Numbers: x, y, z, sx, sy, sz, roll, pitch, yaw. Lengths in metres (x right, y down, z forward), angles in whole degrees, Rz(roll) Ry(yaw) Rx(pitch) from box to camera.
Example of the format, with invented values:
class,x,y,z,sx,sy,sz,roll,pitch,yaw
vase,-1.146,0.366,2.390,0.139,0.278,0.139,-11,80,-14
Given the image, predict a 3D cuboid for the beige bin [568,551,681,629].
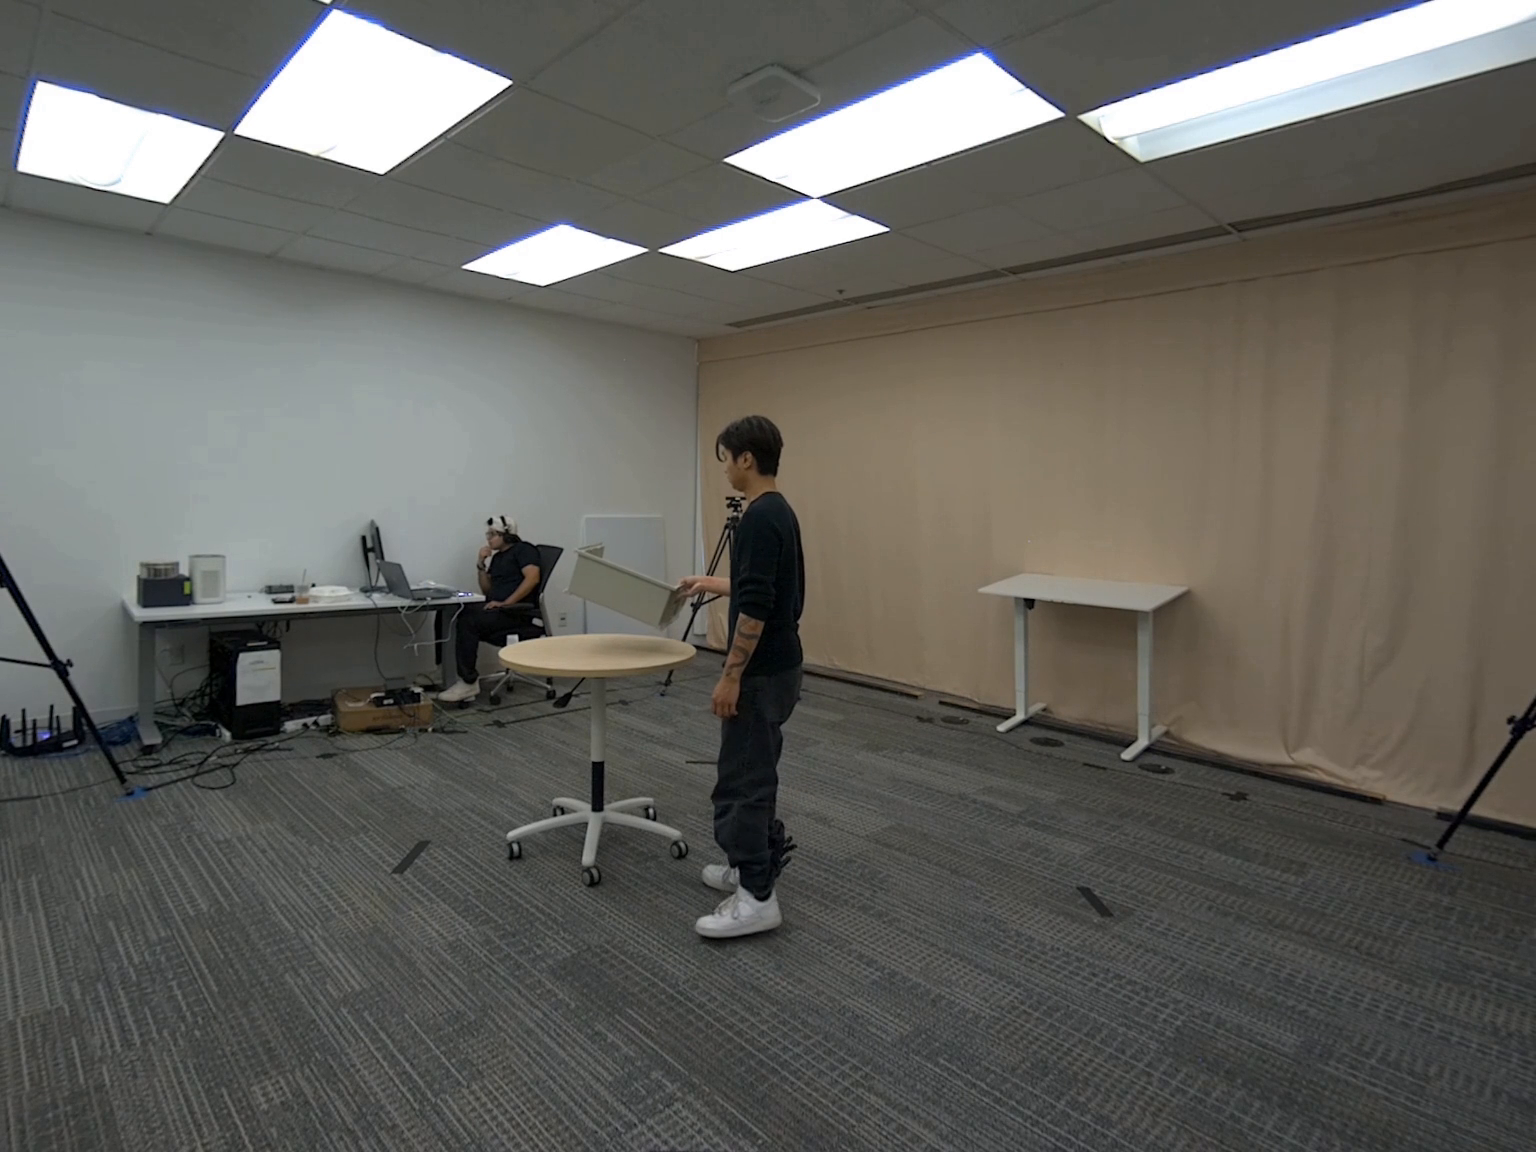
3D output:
class,x,y,z,sx,sy,sz,roll,pitch,yaw
beige bin,-0.554,0.033,3.364,0.426,0.188,0.376,21,11,7
